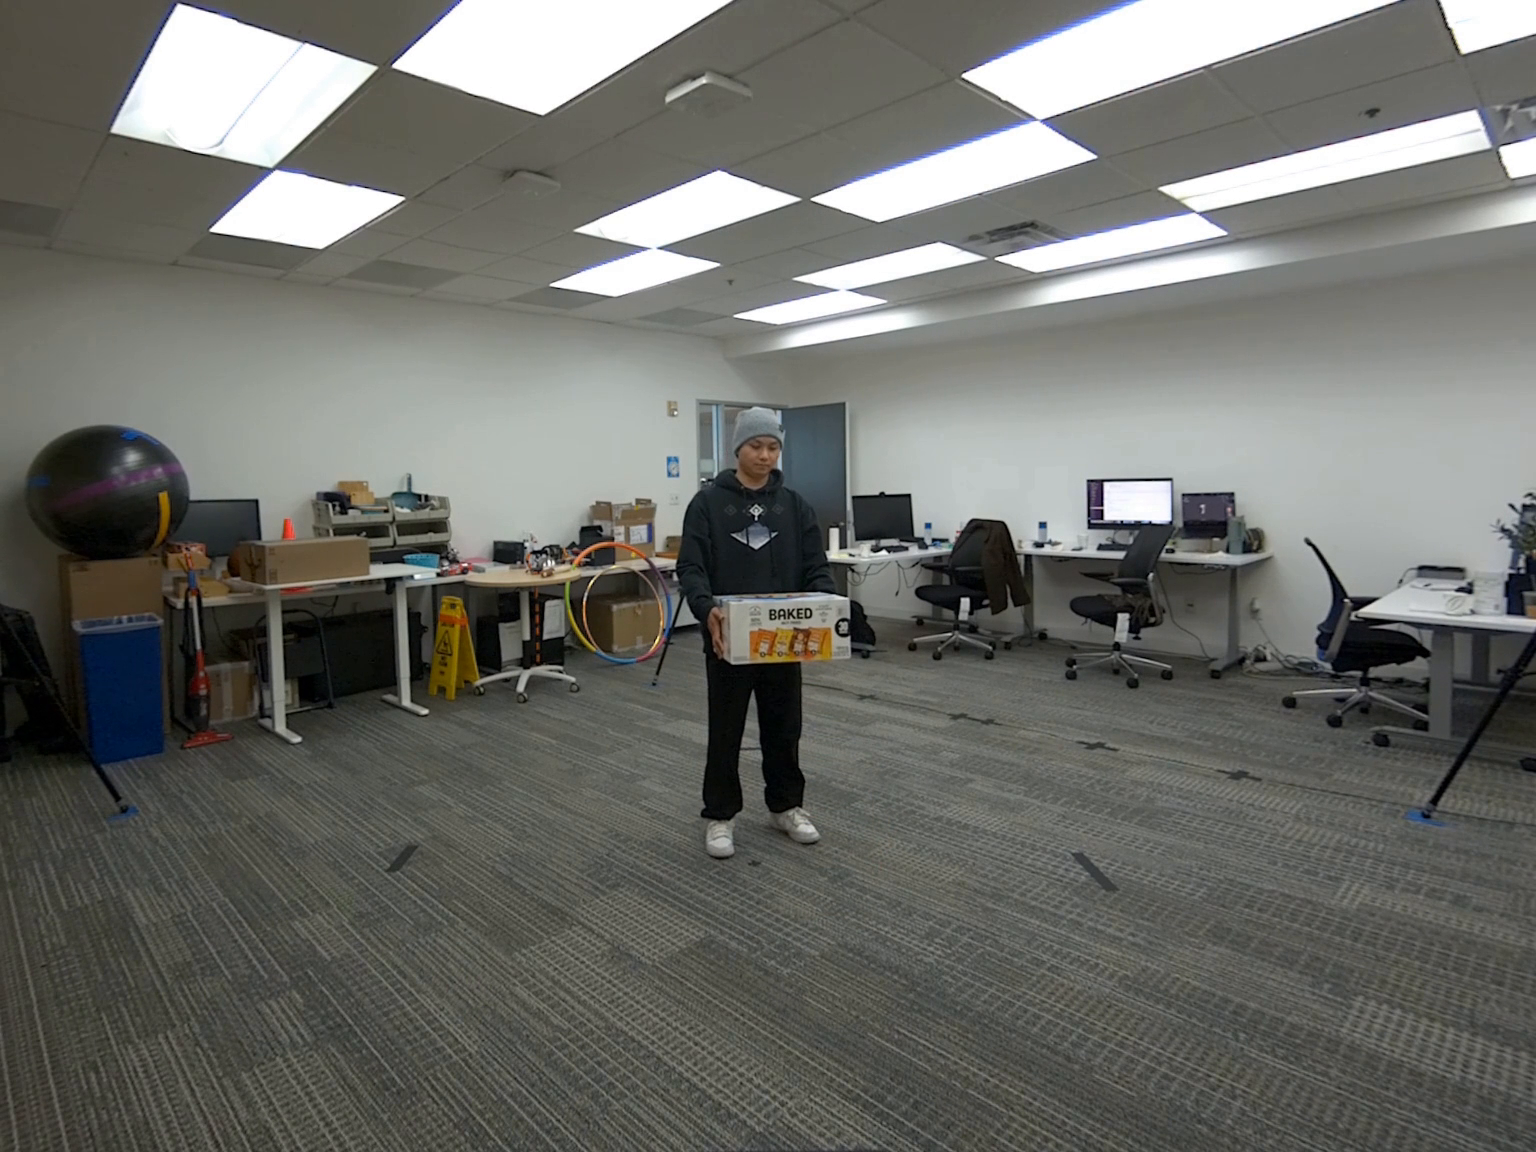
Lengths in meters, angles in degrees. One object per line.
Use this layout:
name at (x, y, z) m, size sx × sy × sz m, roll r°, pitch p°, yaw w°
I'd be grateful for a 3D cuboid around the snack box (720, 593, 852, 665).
snack box at (0.033, 0.177, 2.944) m, size 0.401 × 0.206 × 0.344 m, roll -2°, pitch 1°, yaw -12°
